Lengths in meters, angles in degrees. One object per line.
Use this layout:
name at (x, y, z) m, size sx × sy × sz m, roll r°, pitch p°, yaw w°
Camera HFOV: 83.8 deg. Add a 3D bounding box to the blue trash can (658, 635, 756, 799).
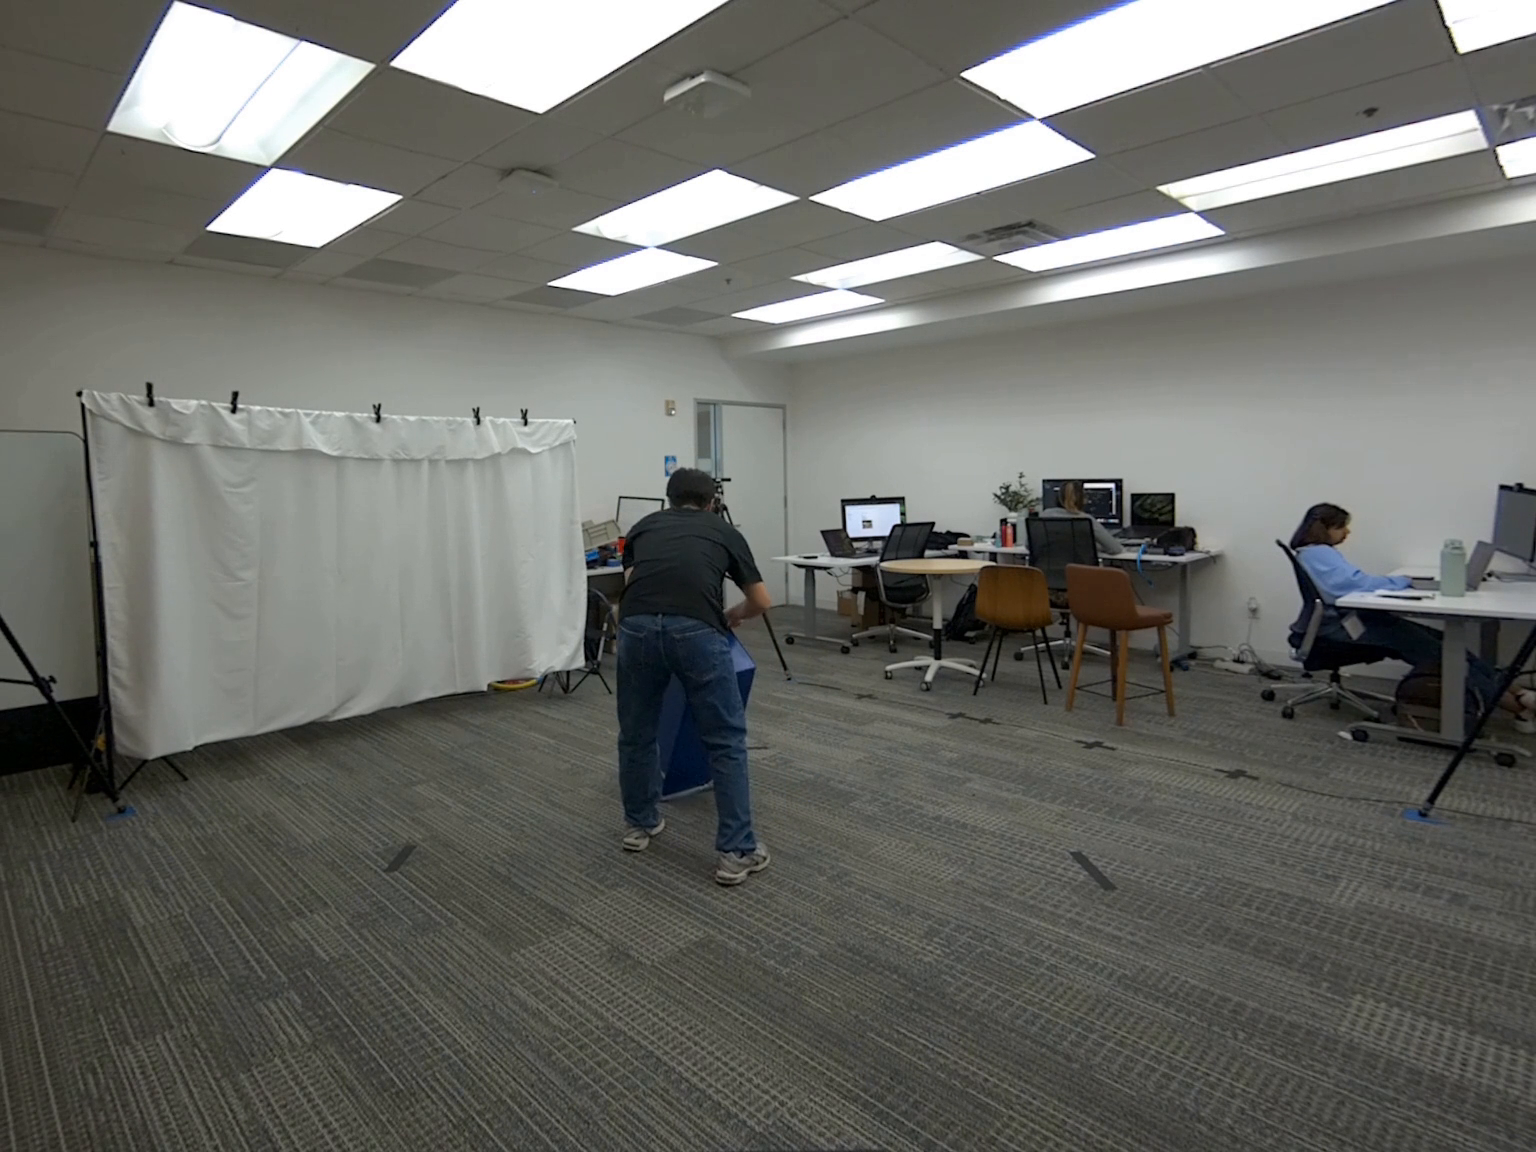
blue trash can at (-0.319, 0.579, 3.720) m, size 0.370 × 0.701 × 0.389 m, roll -8°, pitch 41°, yaw -31°
